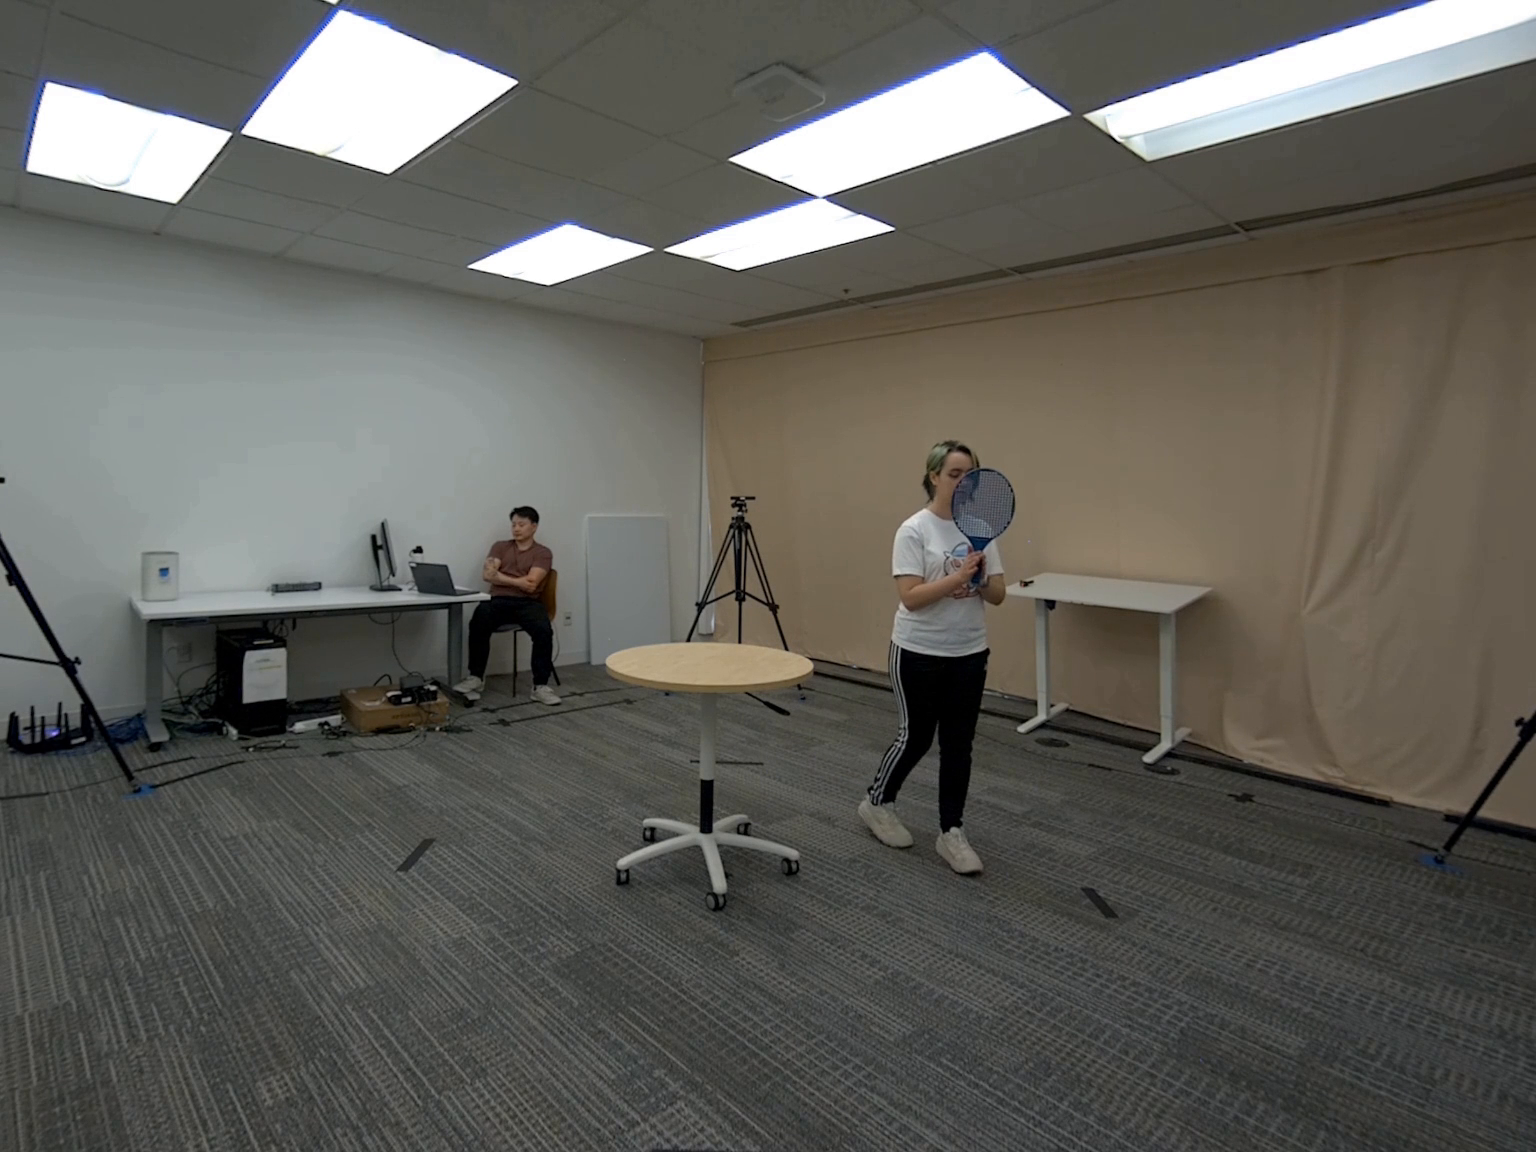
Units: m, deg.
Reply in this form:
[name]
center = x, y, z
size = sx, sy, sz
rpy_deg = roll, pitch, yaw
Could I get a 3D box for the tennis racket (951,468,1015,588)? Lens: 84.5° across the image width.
[tennis racket]
center = 0.716, -0.173, 2.959
size = 0.217, 0.428, 0.031
rpy_deg = 21, 24, 18
